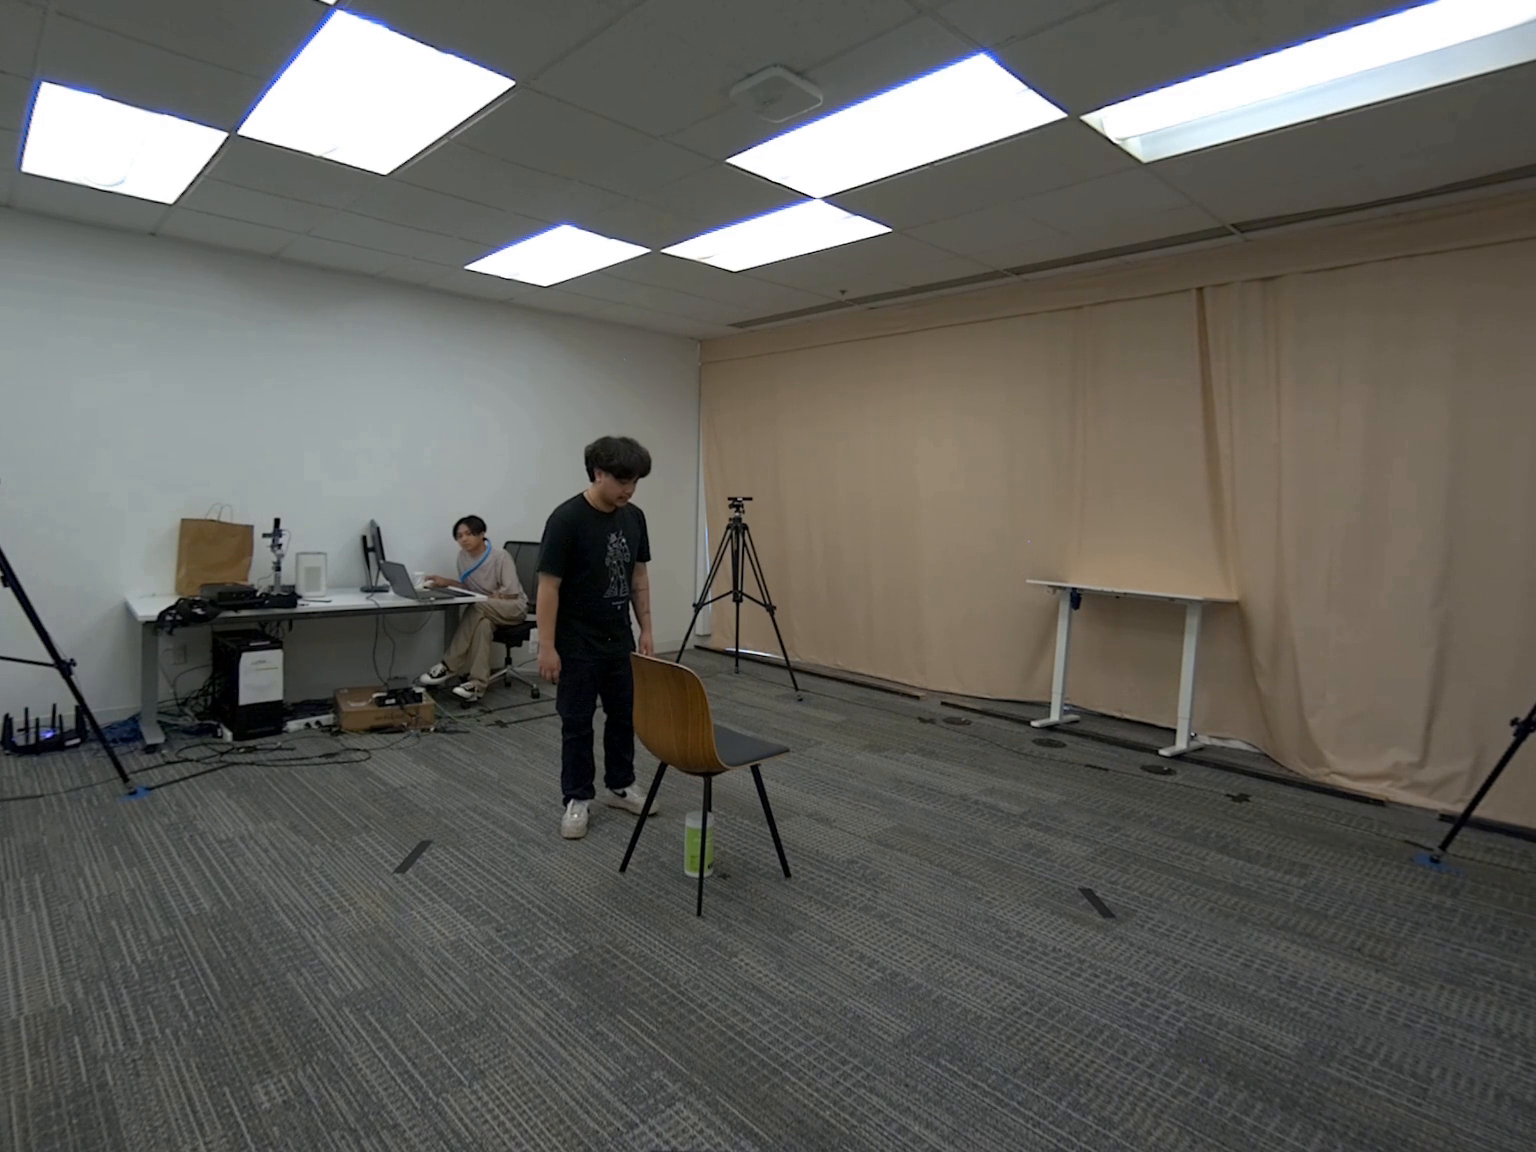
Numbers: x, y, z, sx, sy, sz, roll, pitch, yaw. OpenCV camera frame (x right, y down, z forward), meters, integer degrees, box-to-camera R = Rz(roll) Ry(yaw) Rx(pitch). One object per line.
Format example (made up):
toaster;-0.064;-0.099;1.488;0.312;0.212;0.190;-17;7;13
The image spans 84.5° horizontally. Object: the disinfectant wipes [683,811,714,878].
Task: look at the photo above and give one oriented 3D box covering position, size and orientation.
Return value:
disinfectant wipes;-0.271;1.013;3.118;0.118;0.217;0.118;0;4;-1
